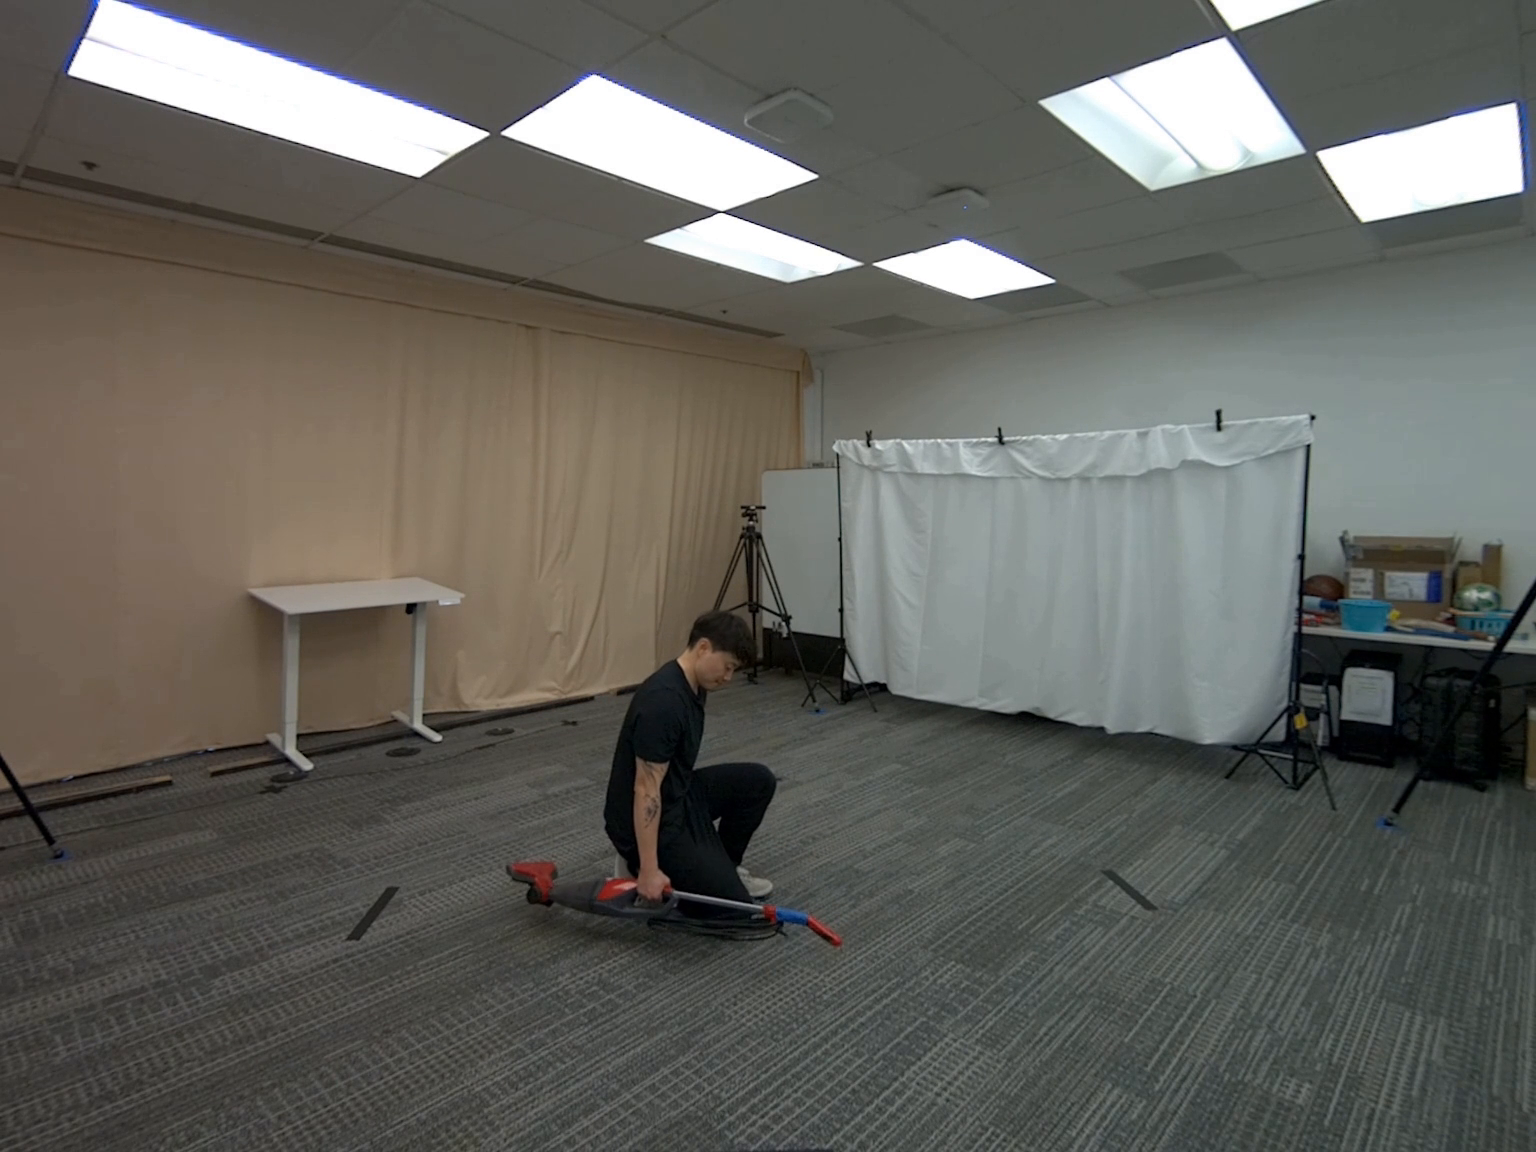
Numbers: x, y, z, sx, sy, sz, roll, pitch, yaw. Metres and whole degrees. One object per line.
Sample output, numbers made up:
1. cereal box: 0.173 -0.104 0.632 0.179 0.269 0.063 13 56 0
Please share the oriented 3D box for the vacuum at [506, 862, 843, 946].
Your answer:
1. vacuum: -0.281 1.041 2.600 1.075 0.145 0.245 1 -16 24
